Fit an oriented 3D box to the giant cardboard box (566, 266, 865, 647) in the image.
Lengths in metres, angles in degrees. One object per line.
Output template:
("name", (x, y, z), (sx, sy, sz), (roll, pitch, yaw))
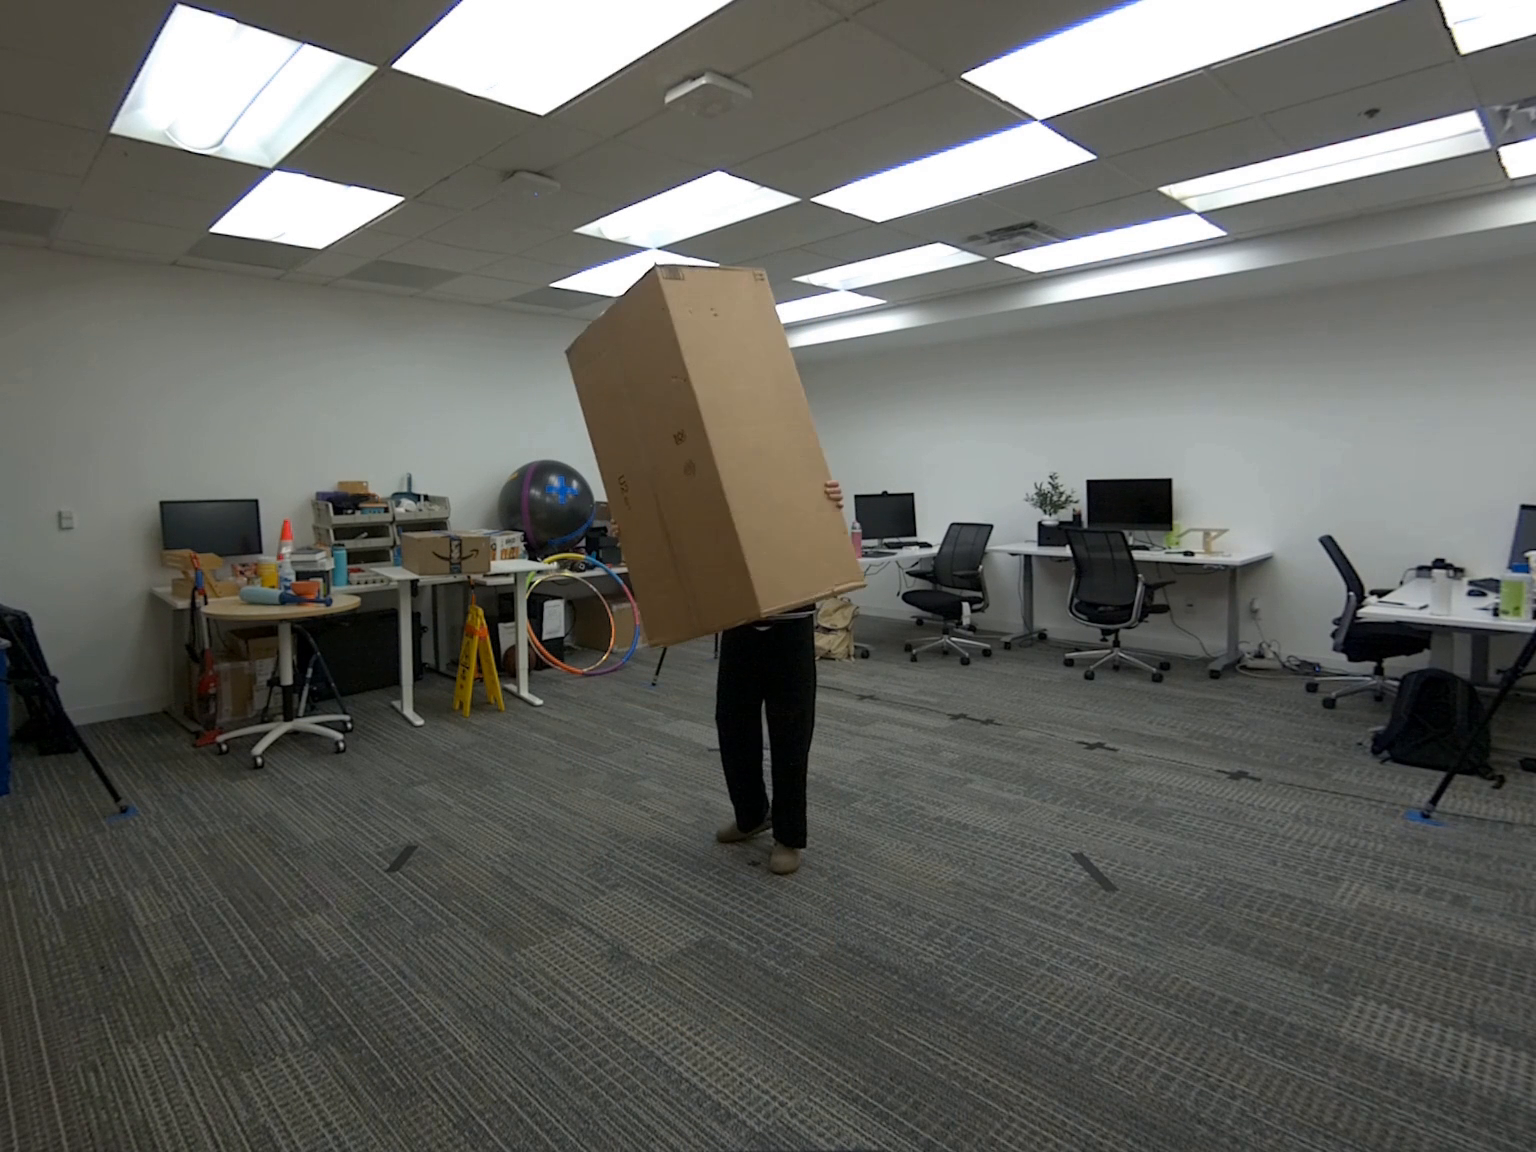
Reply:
("giant cardboard box", (-0.185, -0.347, 2.653), (0.416, 1.034, 0.586), (-12, -8, -41))
